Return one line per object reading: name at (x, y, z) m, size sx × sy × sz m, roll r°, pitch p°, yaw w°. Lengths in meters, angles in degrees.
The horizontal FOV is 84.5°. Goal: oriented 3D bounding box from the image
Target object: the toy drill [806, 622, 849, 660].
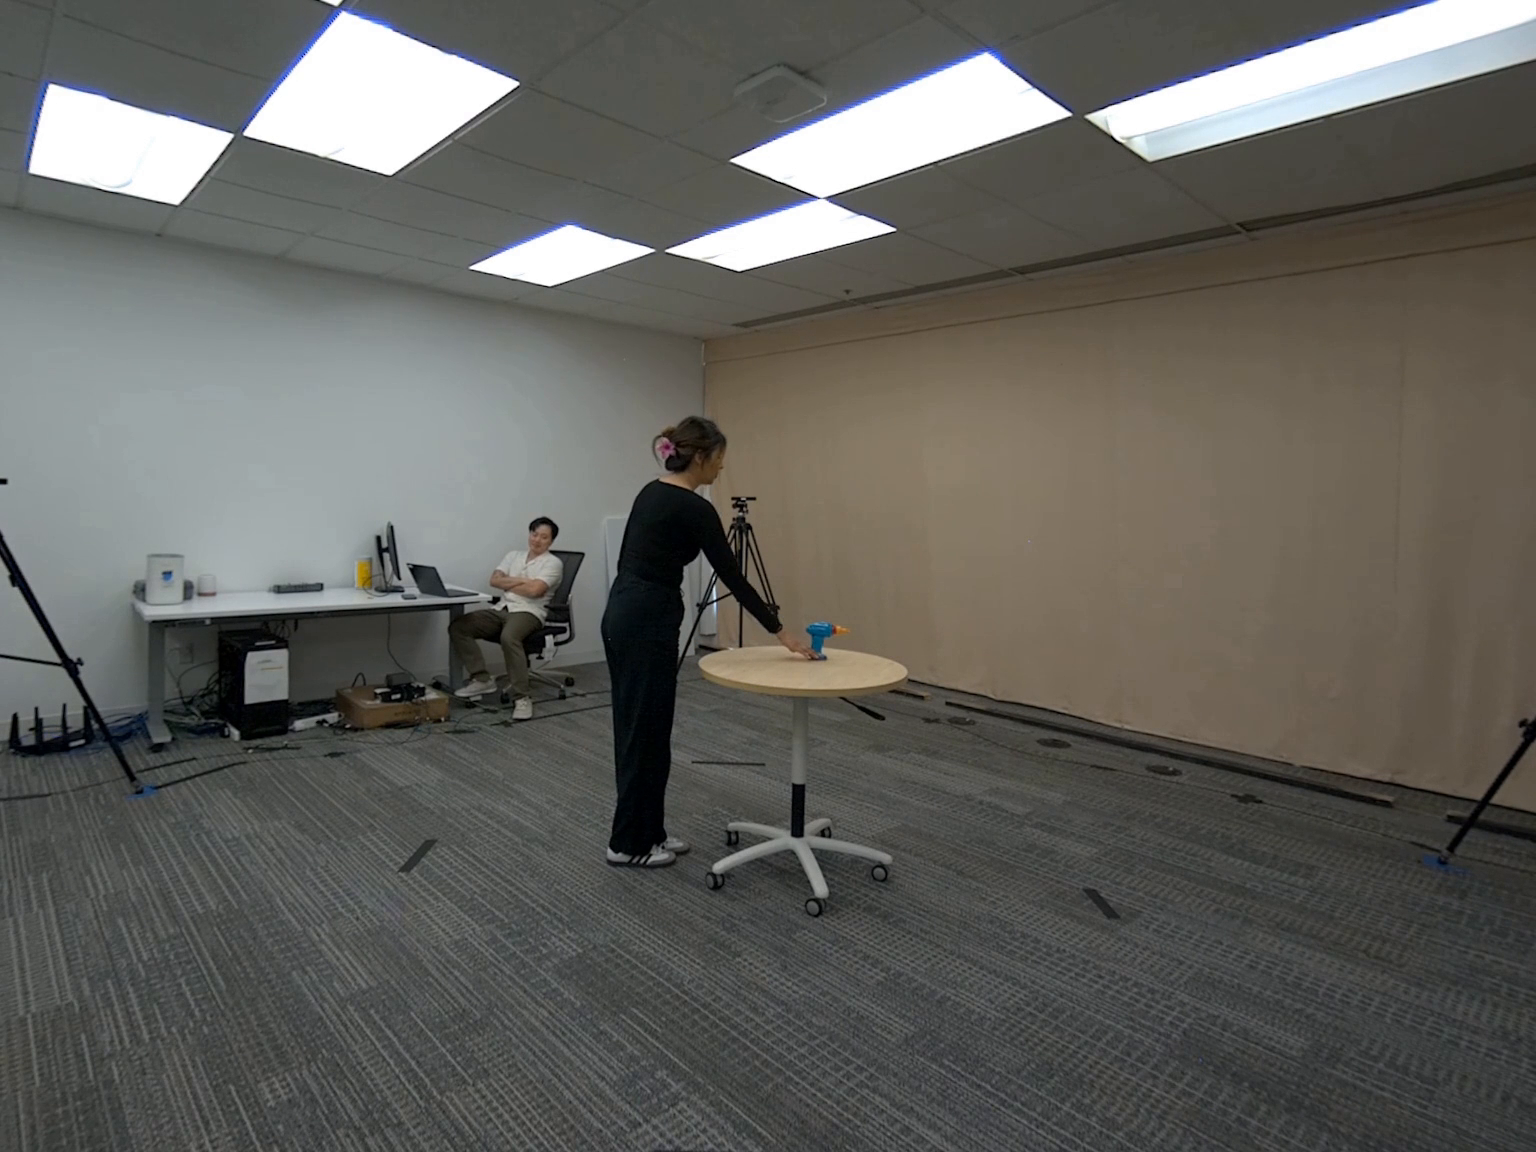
toy drill at (0.218, 0.246, 3.223) m, size 0.169 × 0.145 × 0.061 m, roll 1°, pitch 5°, yaw -5°
